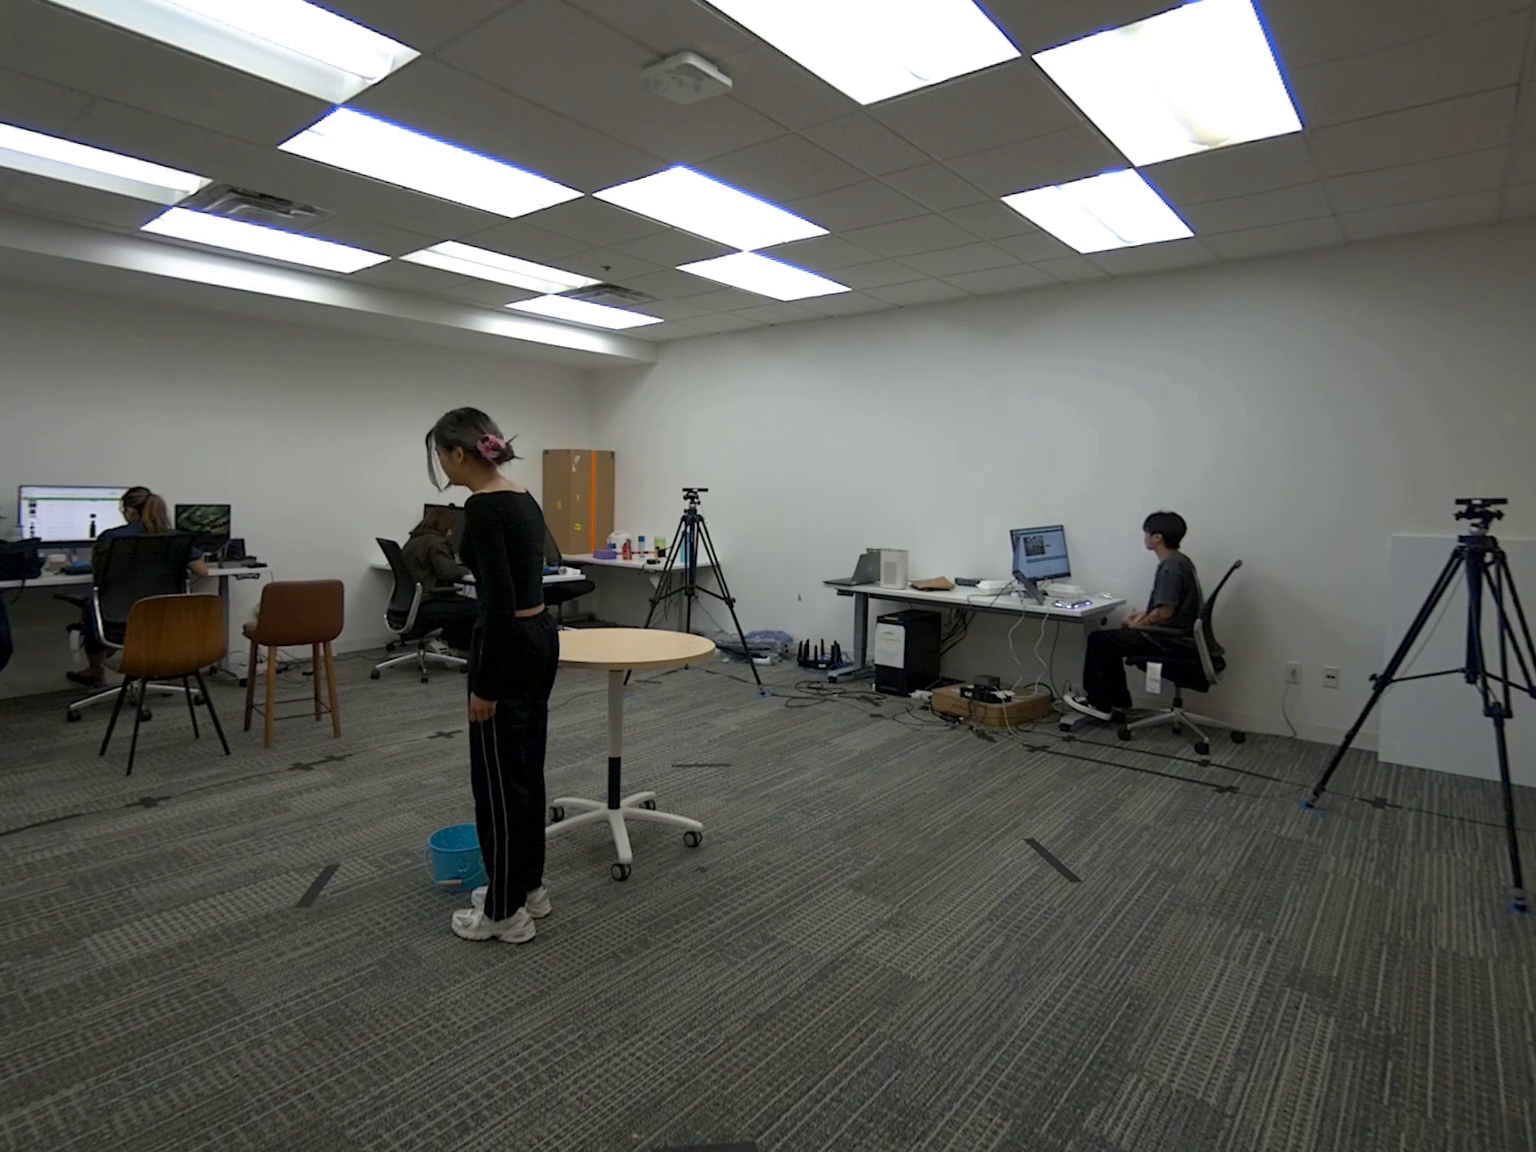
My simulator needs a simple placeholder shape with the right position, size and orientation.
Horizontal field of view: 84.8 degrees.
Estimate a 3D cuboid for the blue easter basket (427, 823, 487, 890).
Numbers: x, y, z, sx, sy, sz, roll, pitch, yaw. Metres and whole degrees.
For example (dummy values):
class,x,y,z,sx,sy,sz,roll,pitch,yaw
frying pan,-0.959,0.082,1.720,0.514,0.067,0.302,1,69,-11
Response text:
class,x,y,z,sx,sy,sz,roll,pitch,yaw
blue easter basket,-1.090,0.989,2.995,0.243,0.155,0.245,0,5,-2
